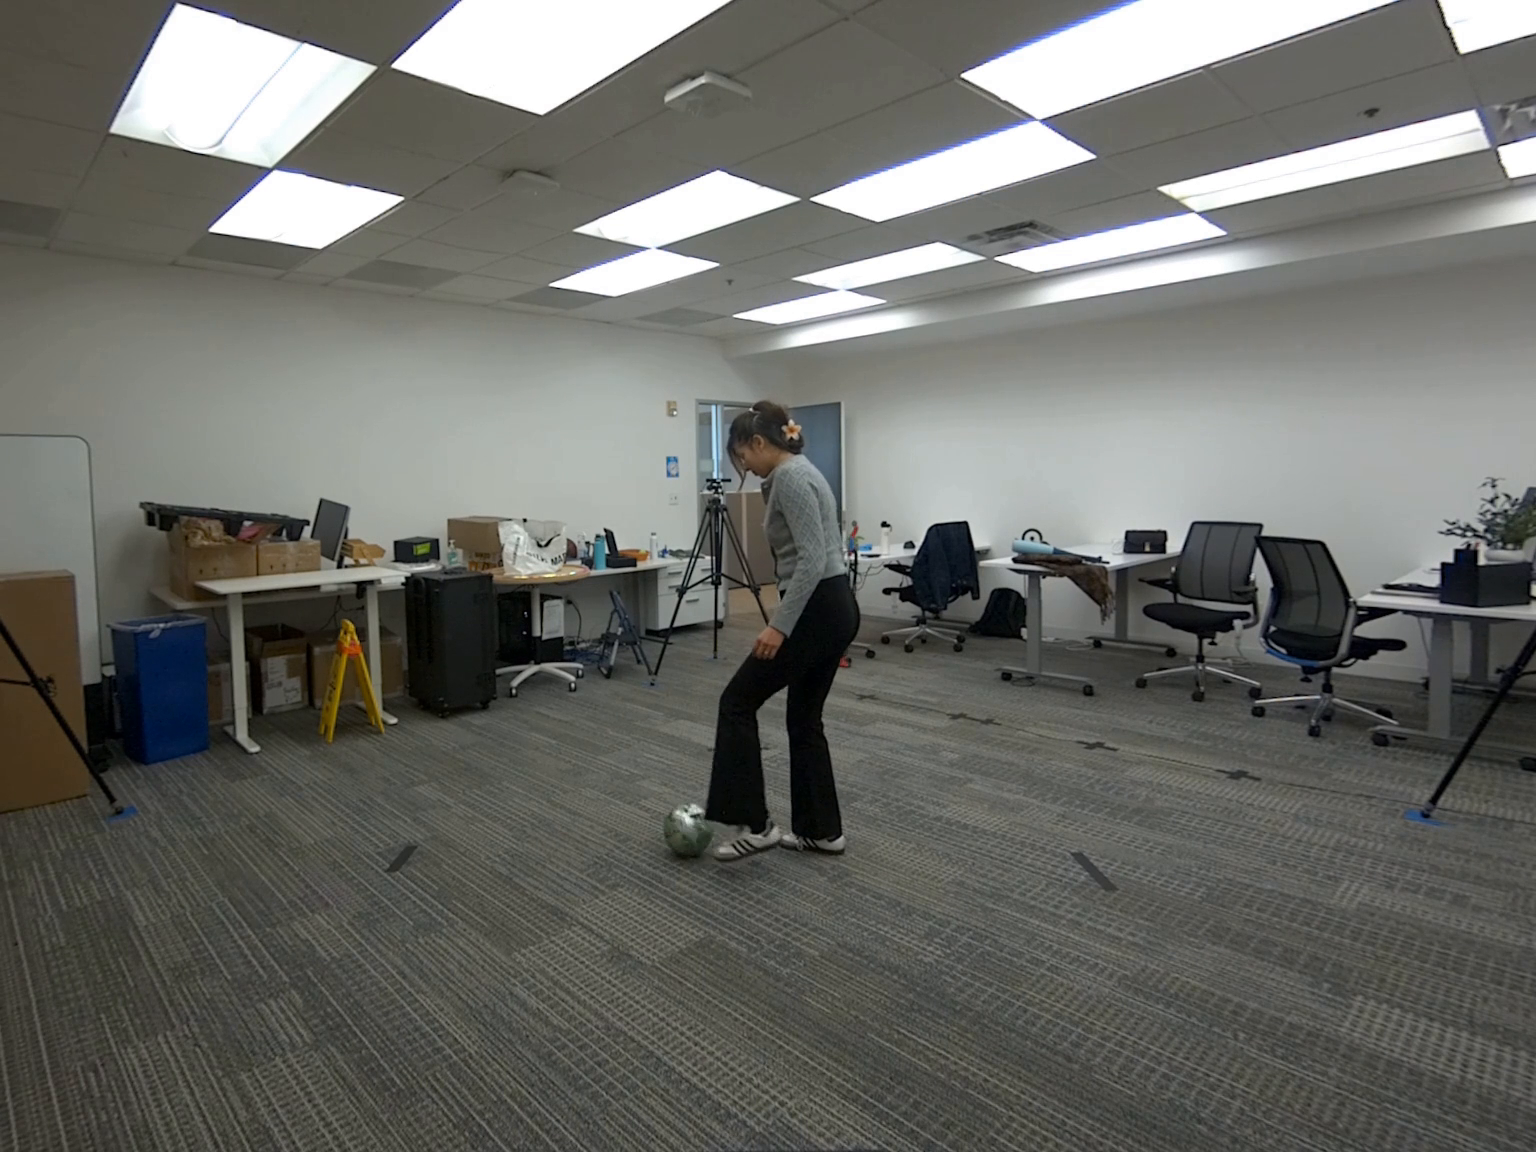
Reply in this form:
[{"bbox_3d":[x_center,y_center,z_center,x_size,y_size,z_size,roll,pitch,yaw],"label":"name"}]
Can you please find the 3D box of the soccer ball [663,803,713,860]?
[{"bbox_3d":[-0.291,0.941,3.183,0.187,0.187,0.188,-1,5,-2],"label":"soccer ball"}]
